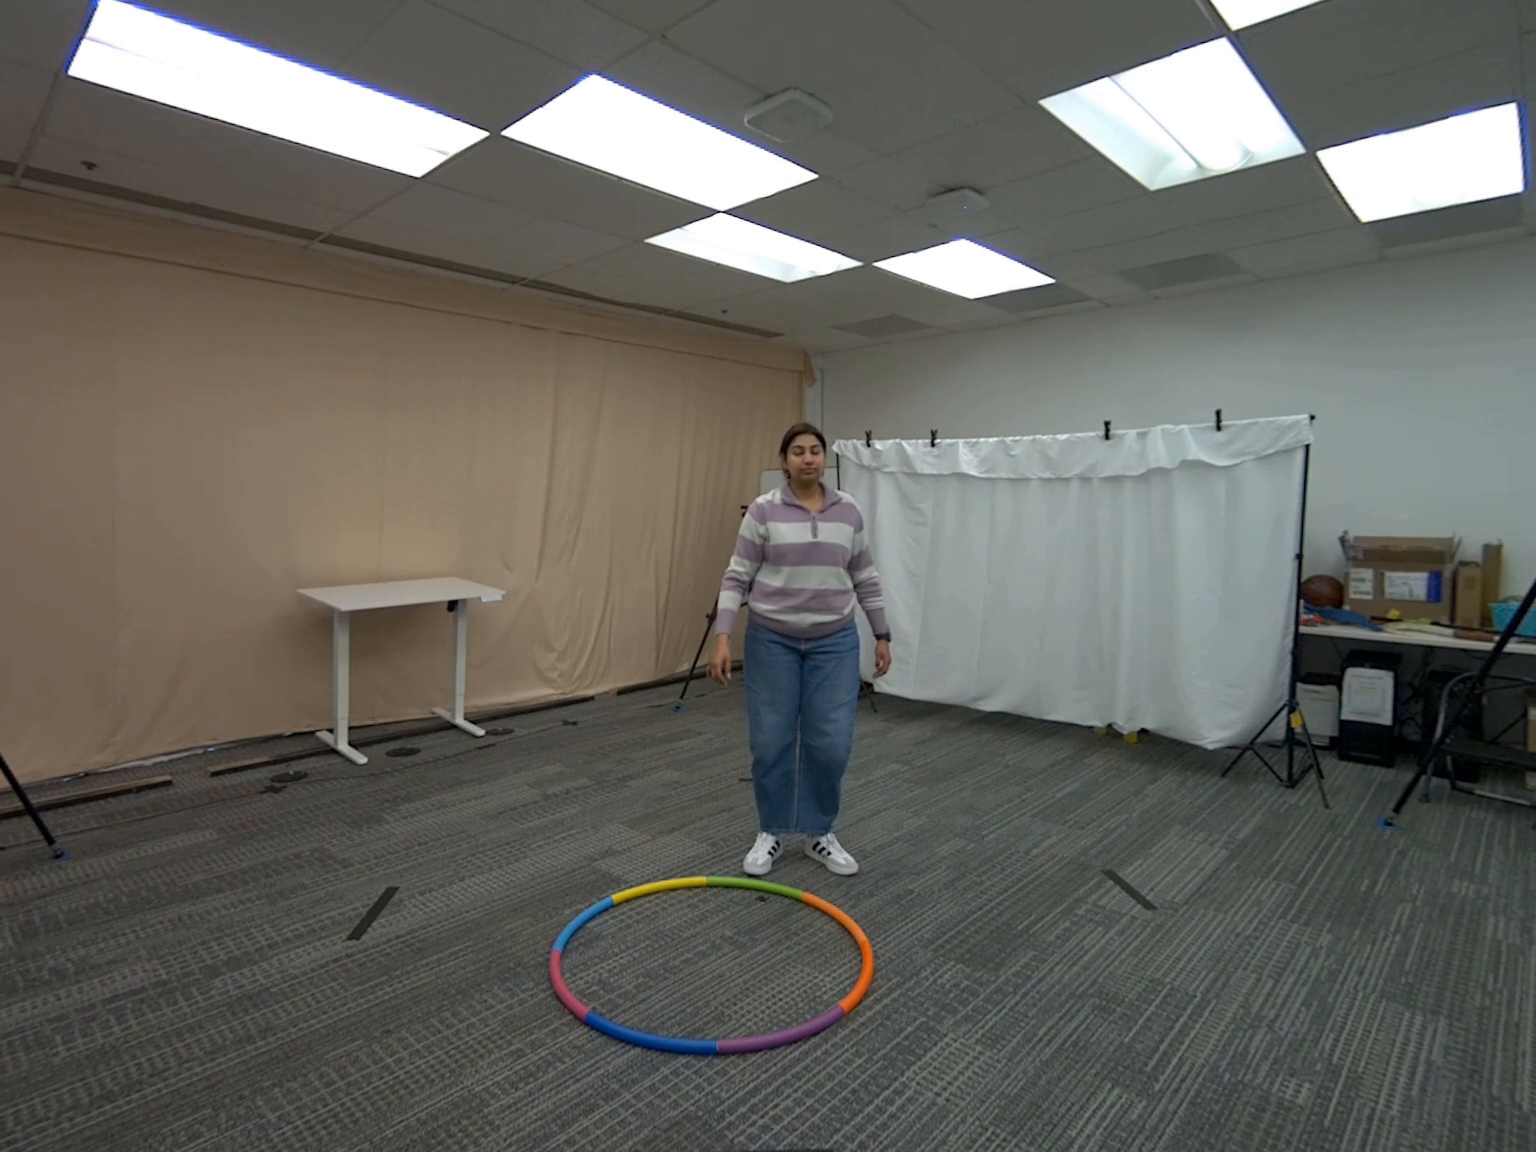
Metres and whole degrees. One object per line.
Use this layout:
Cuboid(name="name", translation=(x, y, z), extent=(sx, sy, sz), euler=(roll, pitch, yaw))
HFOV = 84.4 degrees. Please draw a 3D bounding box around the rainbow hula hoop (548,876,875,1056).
Cuboid(name="rainbow hula hoop", translation=(-0.176, 1.145, 2.617), extent=(0.978, 0.035, 0.982), euler=(0, 5, -2))
